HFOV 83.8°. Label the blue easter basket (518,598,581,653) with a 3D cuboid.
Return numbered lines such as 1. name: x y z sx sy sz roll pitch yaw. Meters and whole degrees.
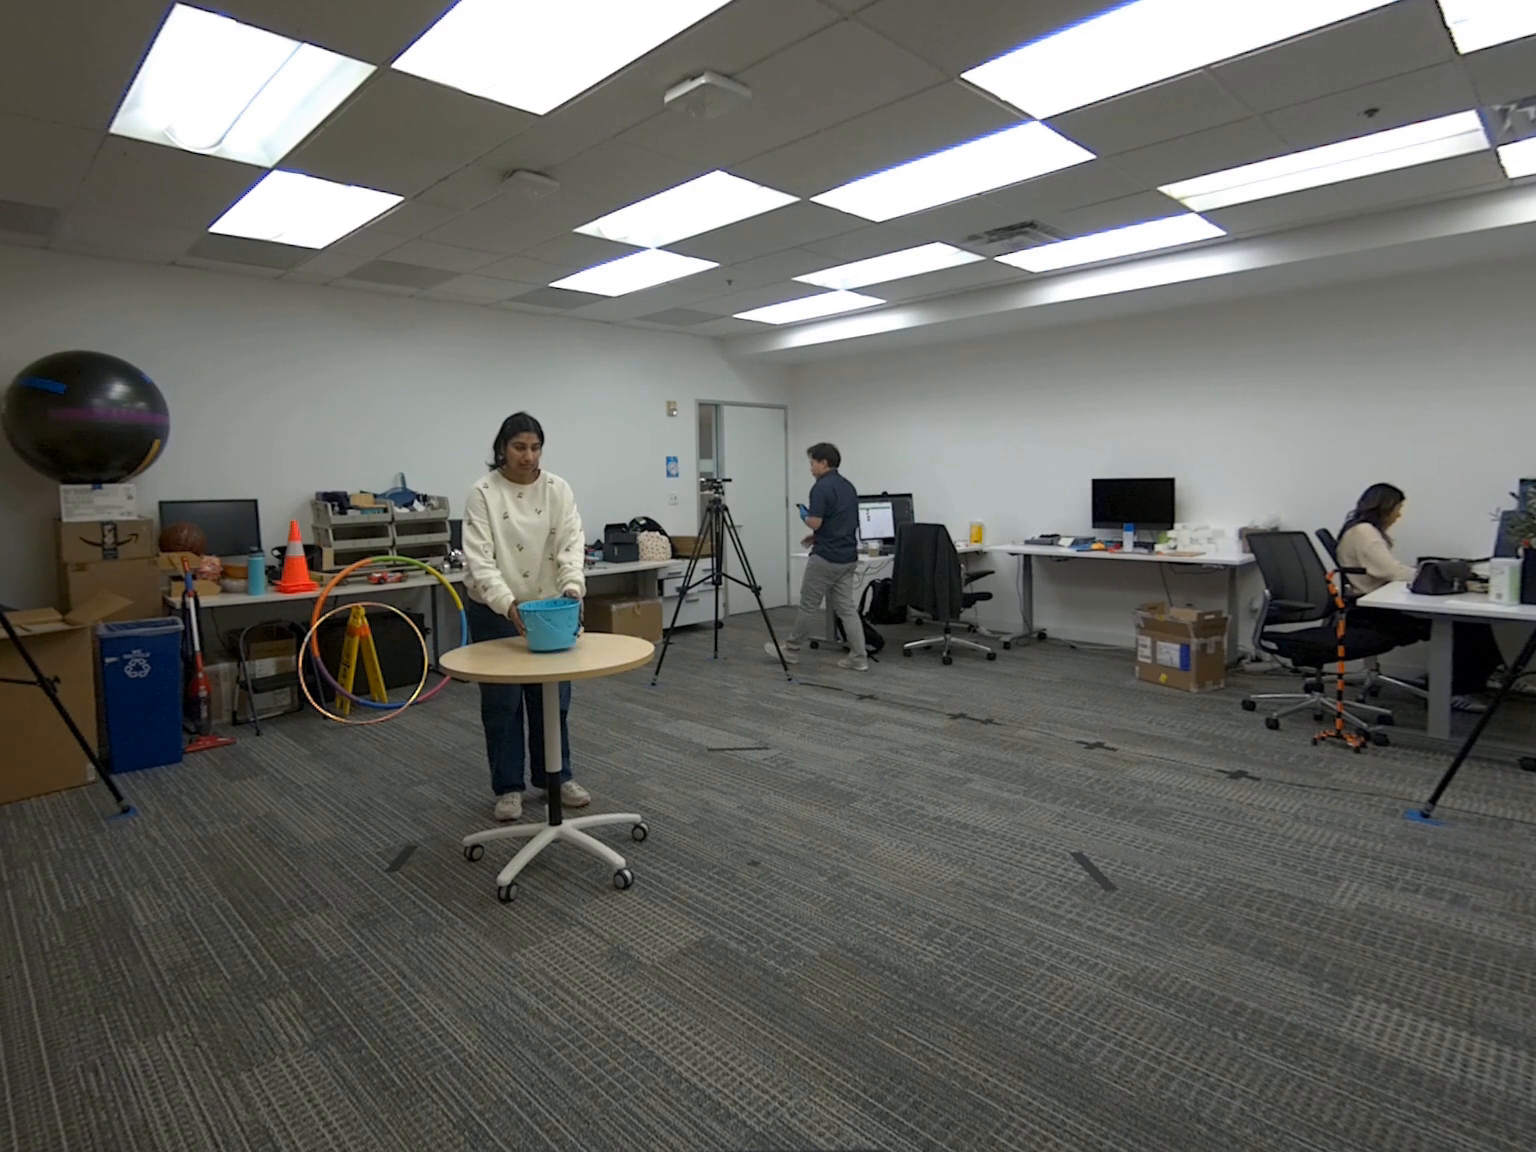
1. blue easter basket: -0.810 0.177 3.139 0.243 0.155 0.245 -4 6 -1
